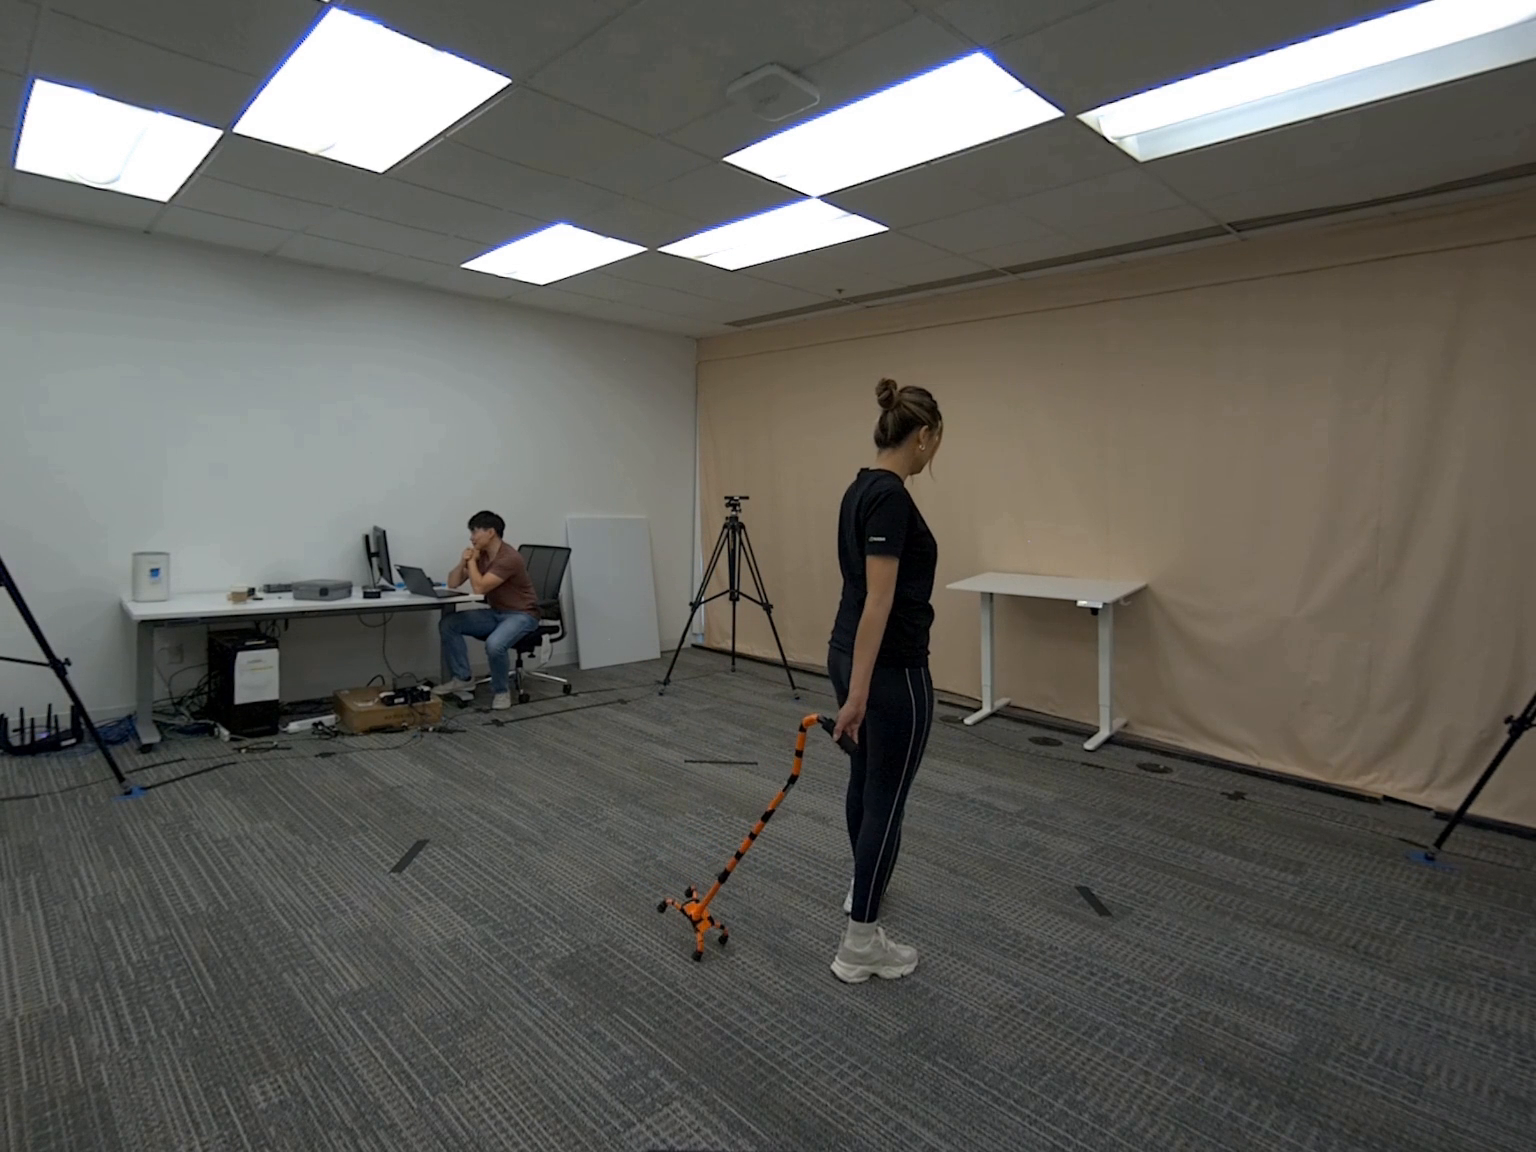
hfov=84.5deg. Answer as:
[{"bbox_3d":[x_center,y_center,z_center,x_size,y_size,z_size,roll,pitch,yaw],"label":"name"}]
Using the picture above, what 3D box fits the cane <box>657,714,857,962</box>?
[{"bbox_3d":[-0.041,0.740,2.424,0.148,0.902,0.212,-6,44,-50],"label":"cane"}]
